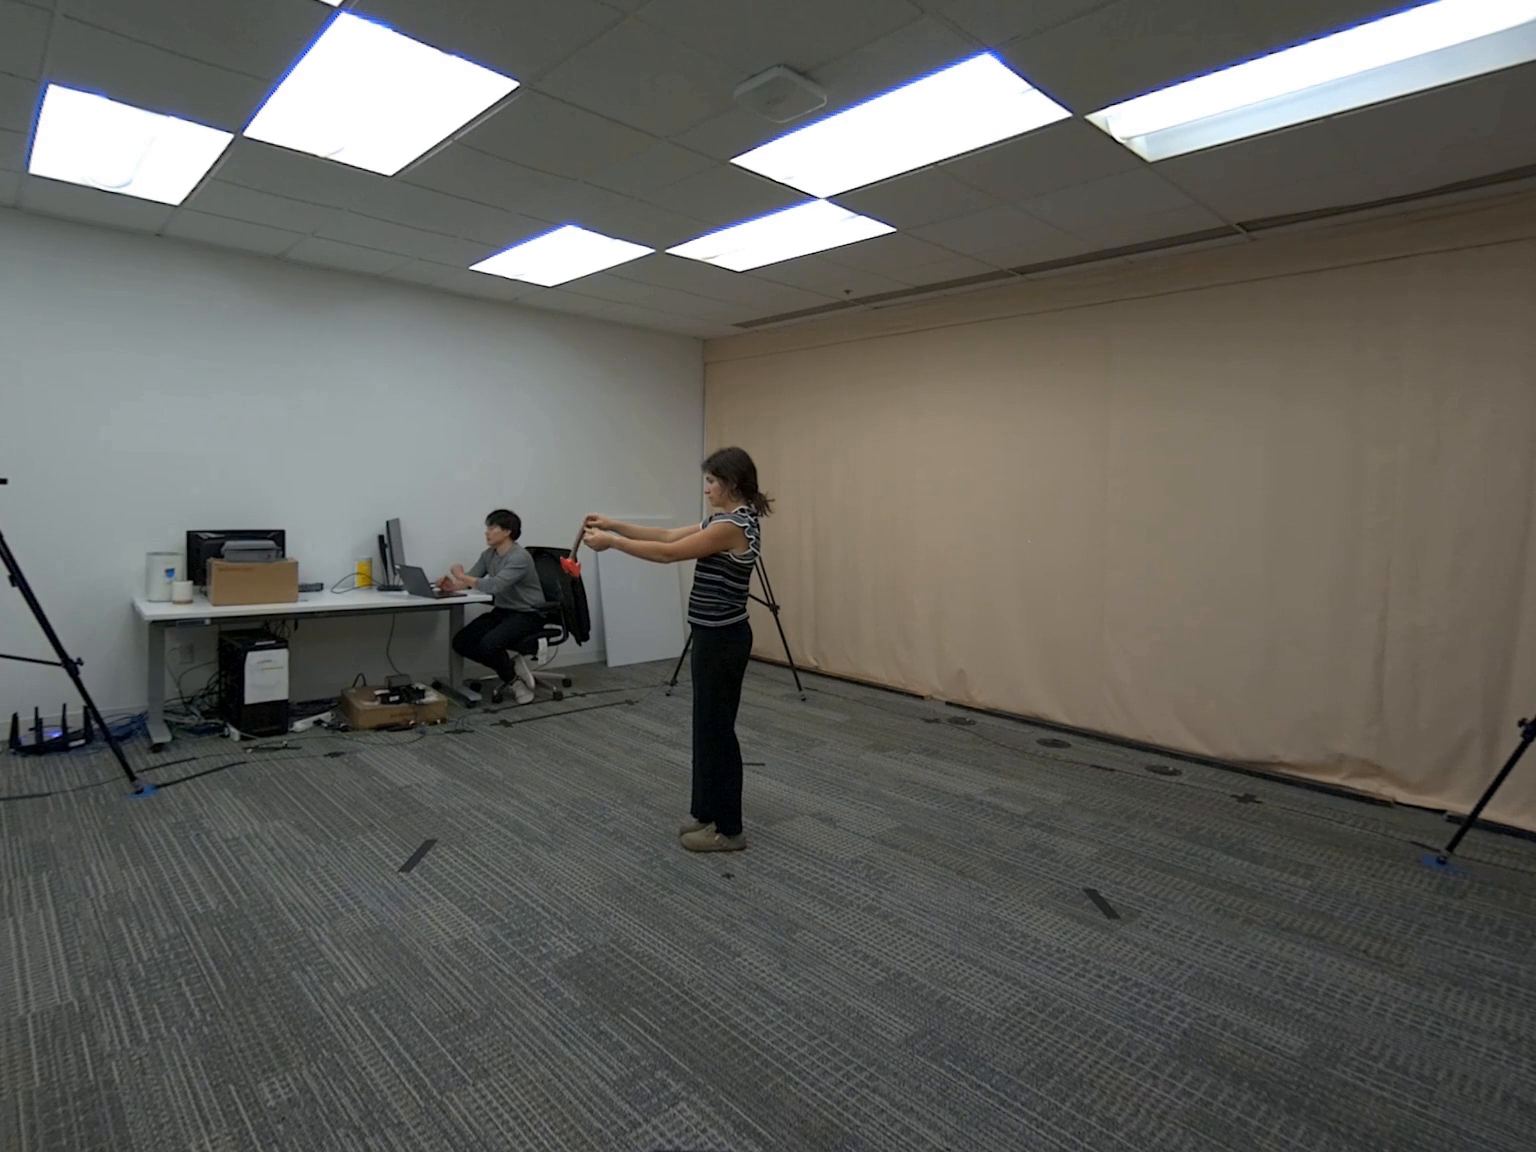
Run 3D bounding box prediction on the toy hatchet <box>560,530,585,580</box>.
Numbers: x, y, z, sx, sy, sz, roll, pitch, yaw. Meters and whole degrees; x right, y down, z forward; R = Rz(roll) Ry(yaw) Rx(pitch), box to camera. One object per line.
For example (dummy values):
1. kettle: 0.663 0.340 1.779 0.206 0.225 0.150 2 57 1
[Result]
1. toy hatchet: -0.740 -0.097 3.291 0.030 0.128 0.273 -11 32 22
